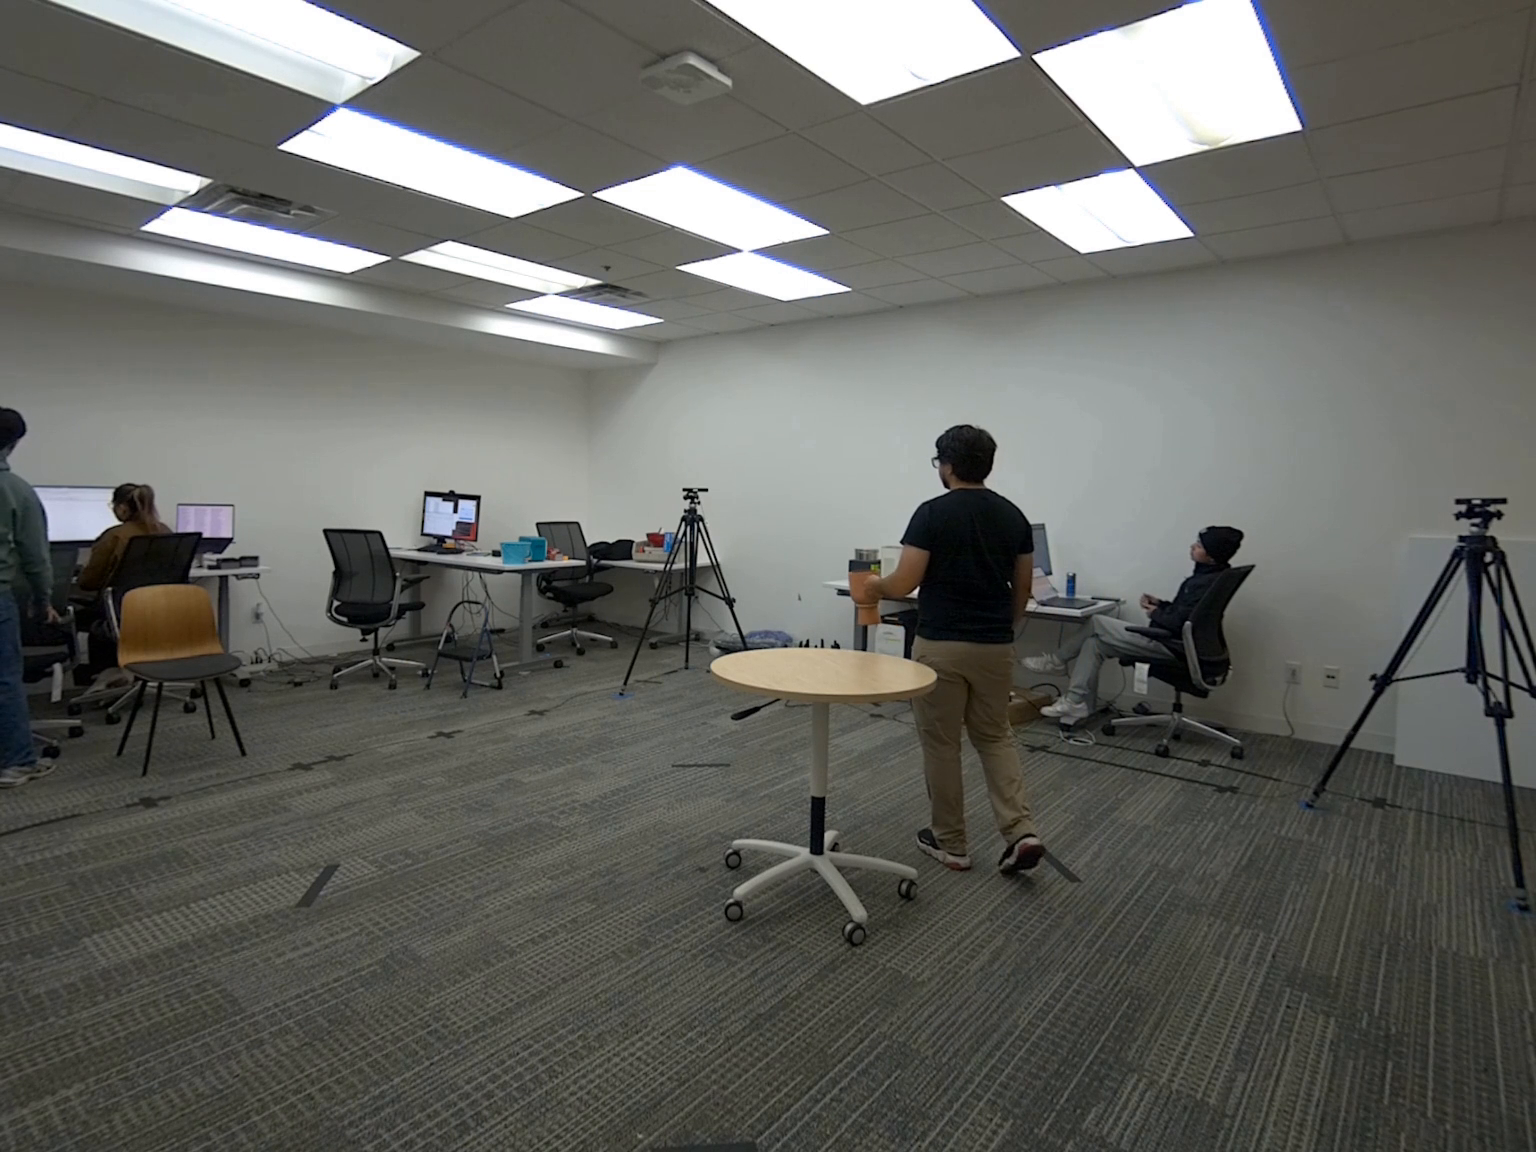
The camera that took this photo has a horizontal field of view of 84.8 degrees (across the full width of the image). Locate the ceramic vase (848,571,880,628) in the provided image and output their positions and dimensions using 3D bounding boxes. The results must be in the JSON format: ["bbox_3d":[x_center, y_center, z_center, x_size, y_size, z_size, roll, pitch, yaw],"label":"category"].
[{"bbox_3d":[0.406,0.086,3.546,0.138,0.219,0.155,-4,3,32],"label":"ceramic vase"}]
